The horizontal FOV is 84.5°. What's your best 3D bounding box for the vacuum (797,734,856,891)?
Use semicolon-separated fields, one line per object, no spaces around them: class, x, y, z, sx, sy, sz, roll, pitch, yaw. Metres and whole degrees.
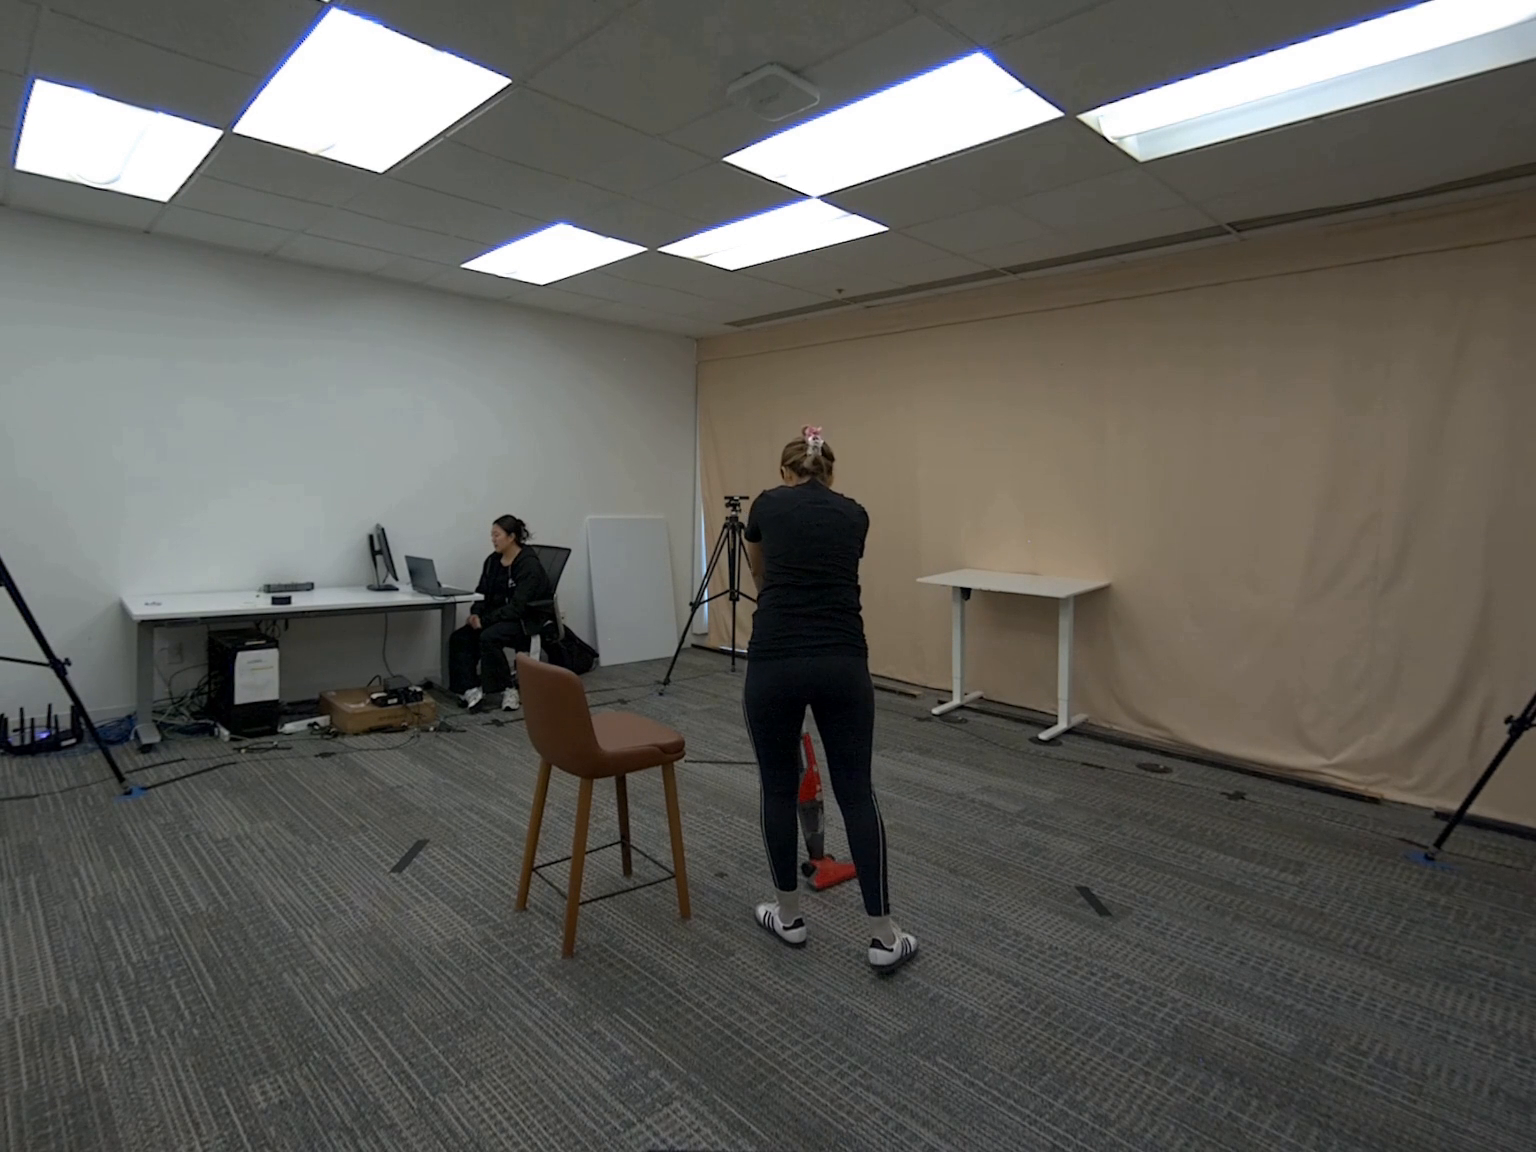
vacuum;0.114;0.610;3.217;0.247;1.062;0.145;-3;-16;-35
